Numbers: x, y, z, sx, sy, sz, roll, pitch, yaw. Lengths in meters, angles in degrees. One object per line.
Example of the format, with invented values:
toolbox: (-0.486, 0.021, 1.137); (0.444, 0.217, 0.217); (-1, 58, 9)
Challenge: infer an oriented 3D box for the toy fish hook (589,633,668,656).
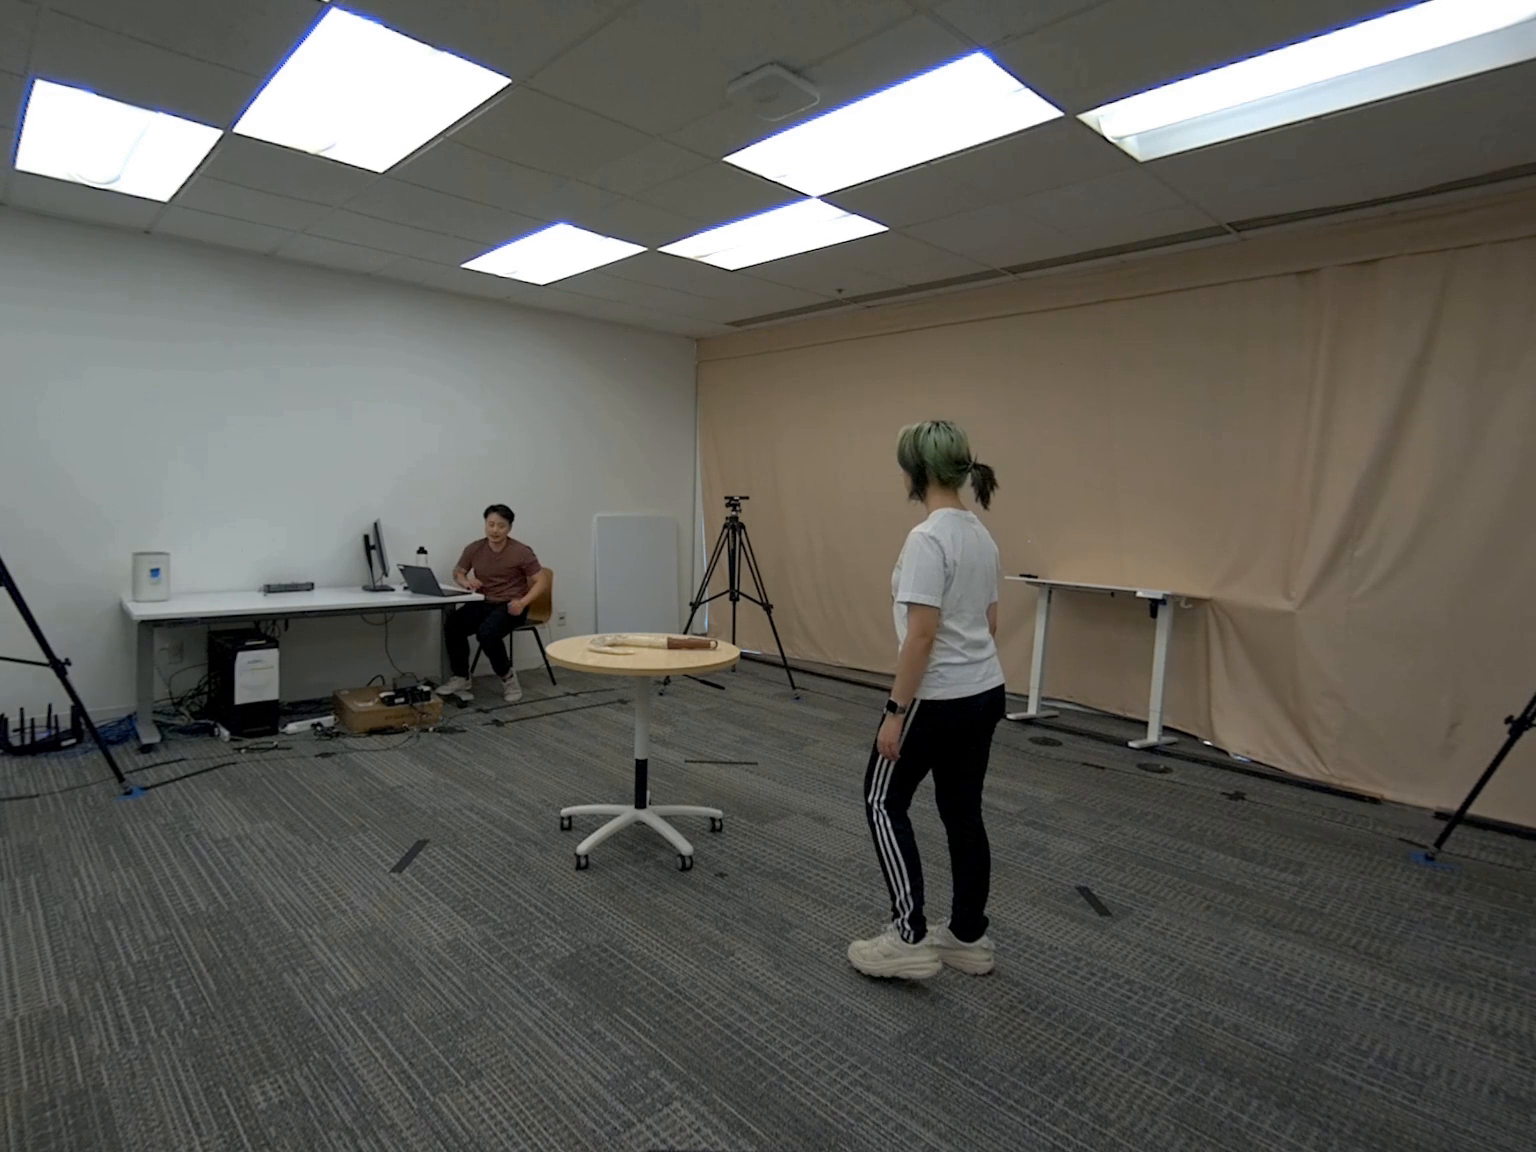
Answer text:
toy fish hook: (-0.457, 0.276, 3.319); (0.506, 0.048, 0.226); (0, 11, -1)
